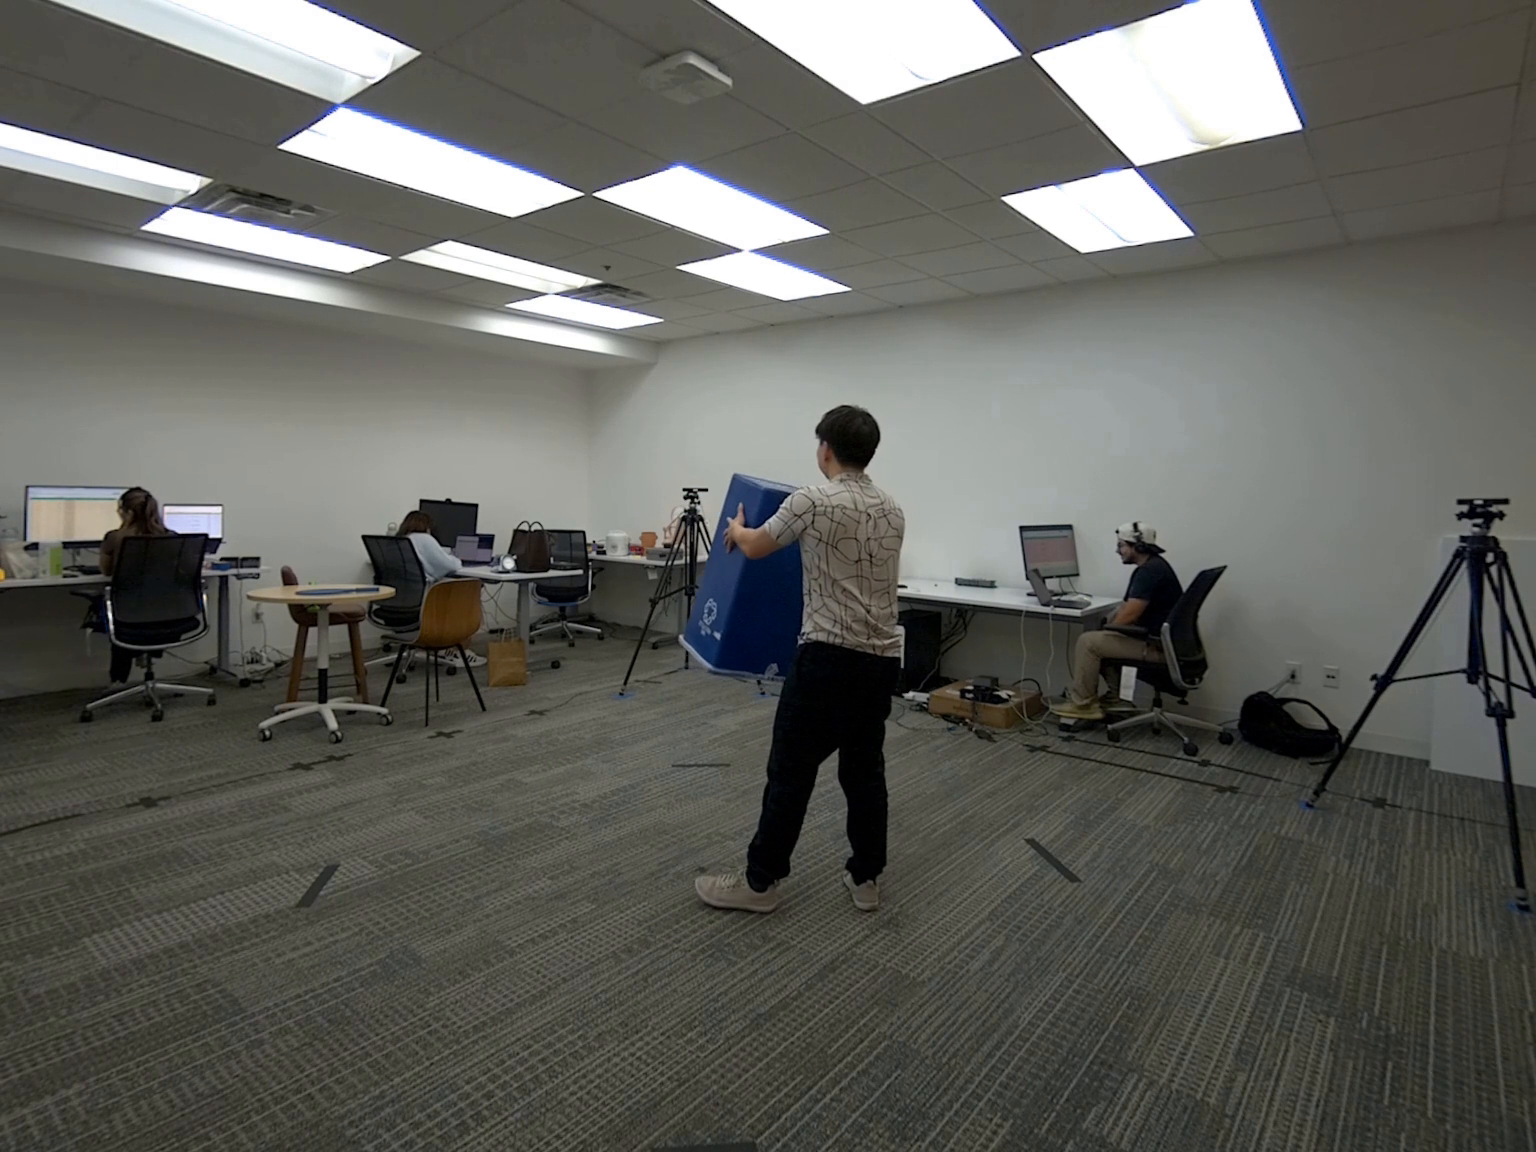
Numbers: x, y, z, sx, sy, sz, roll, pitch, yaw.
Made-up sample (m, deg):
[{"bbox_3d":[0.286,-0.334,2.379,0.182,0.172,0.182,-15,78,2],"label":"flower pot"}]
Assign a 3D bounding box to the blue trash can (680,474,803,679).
[{"bbox_3d":[-0.058,-0.010,3.284,0.363,0.709,0.391,11,11,-27],"label":"blue trash can"}]
